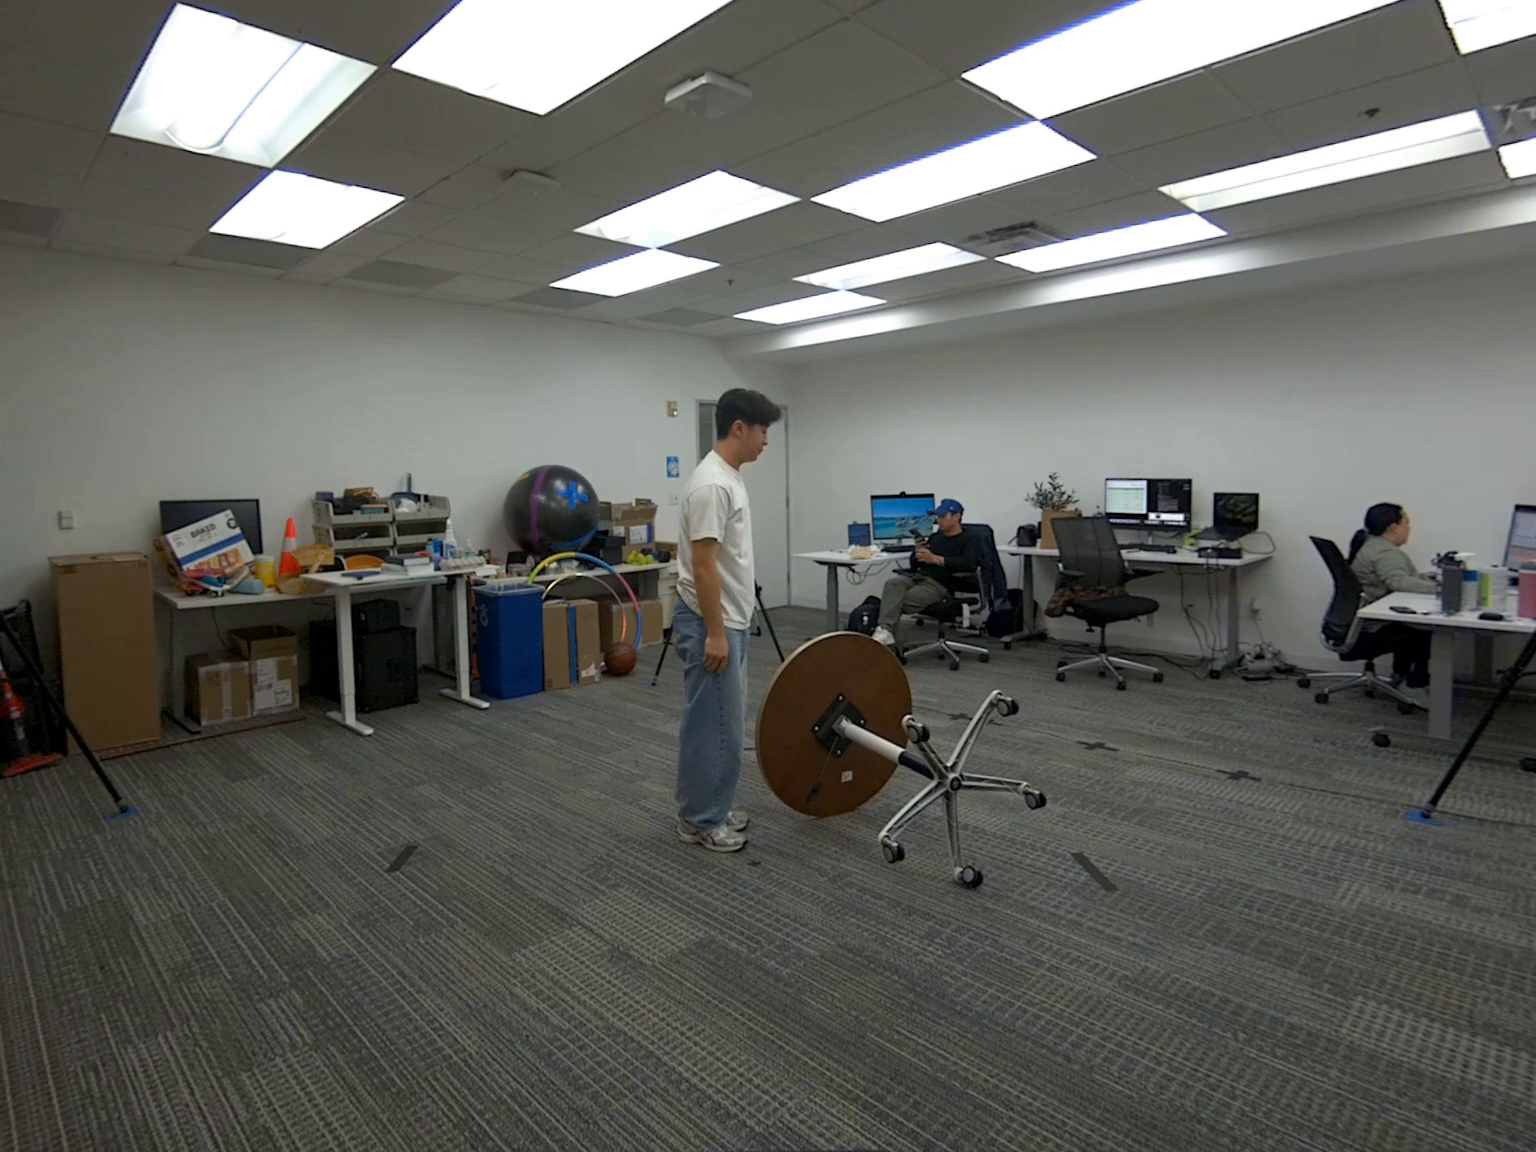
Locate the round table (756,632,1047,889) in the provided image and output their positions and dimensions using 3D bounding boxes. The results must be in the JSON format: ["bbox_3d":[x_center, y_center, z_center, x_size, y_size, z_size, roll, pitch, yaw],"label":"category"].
[{"bbox_3d":[0.482,0.671,3.176,0.746,0.759,0.817,-4,8,-29],"label":"round table"}]
